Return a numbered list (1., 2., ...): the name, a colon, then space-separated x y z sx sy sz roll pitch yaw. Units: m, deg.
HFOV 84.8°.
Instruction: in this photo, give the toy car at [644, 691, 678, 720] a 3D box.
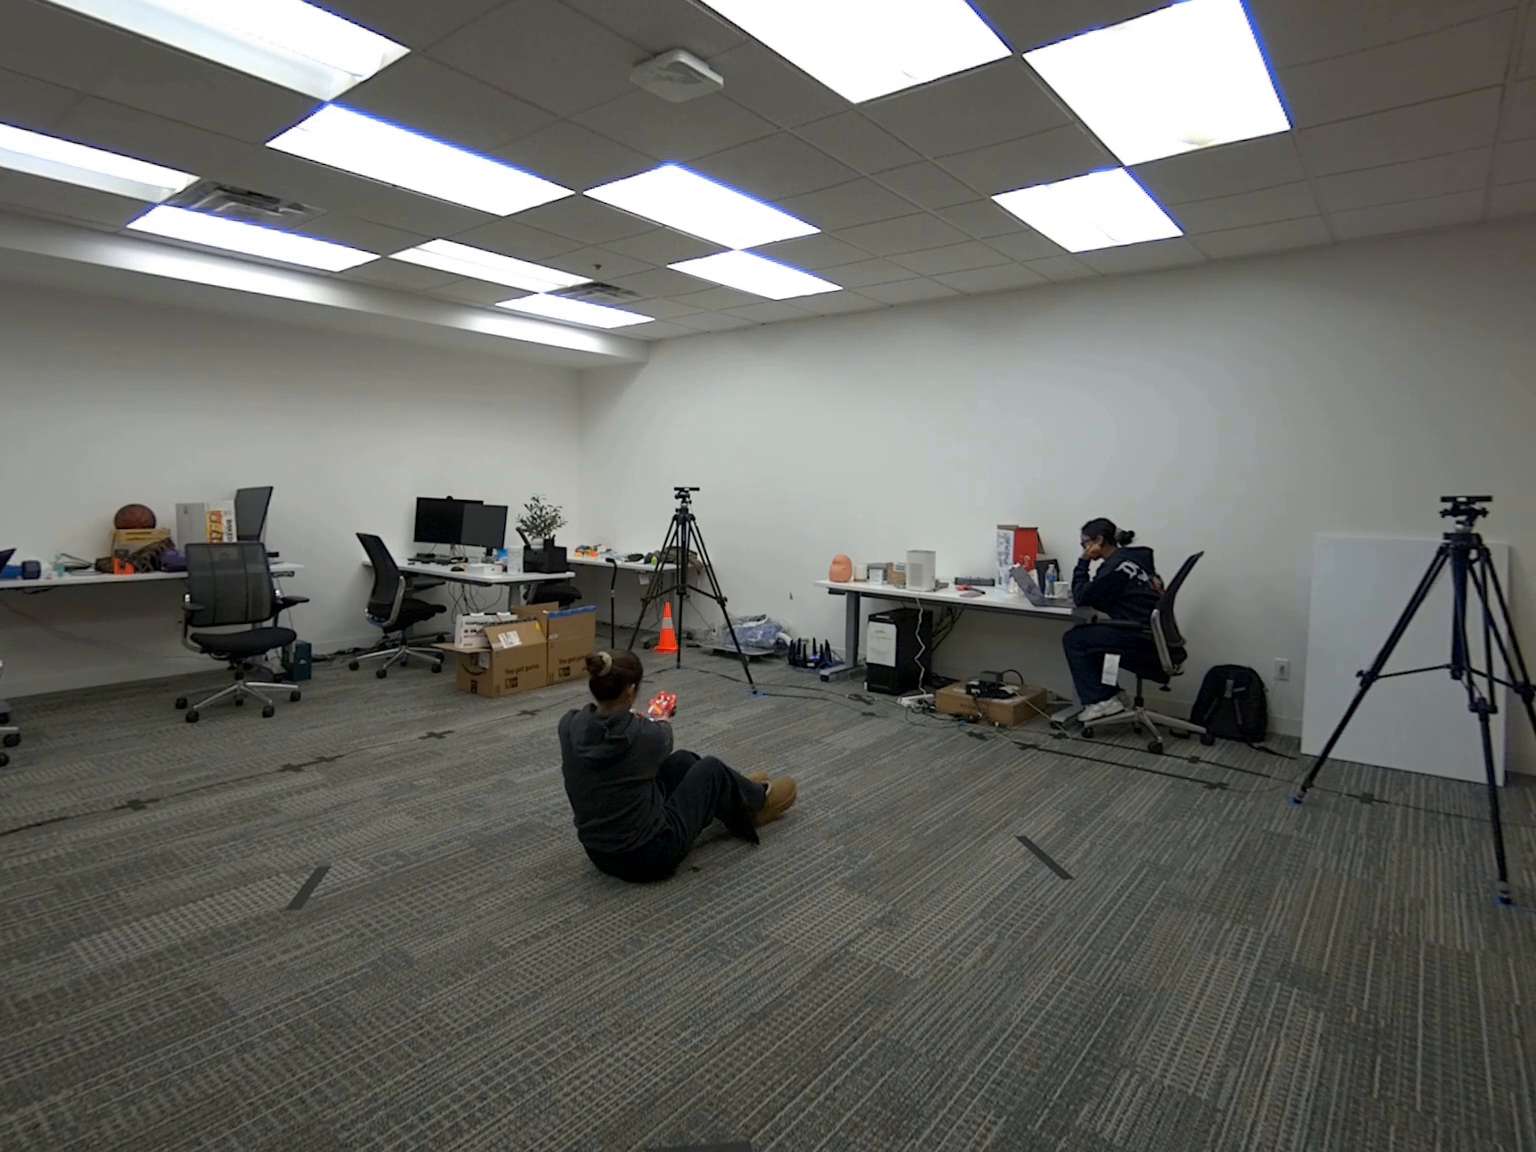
1. toy car: -0.477 0.601 3.662 0.133 0.080 0.258 8 46 16
